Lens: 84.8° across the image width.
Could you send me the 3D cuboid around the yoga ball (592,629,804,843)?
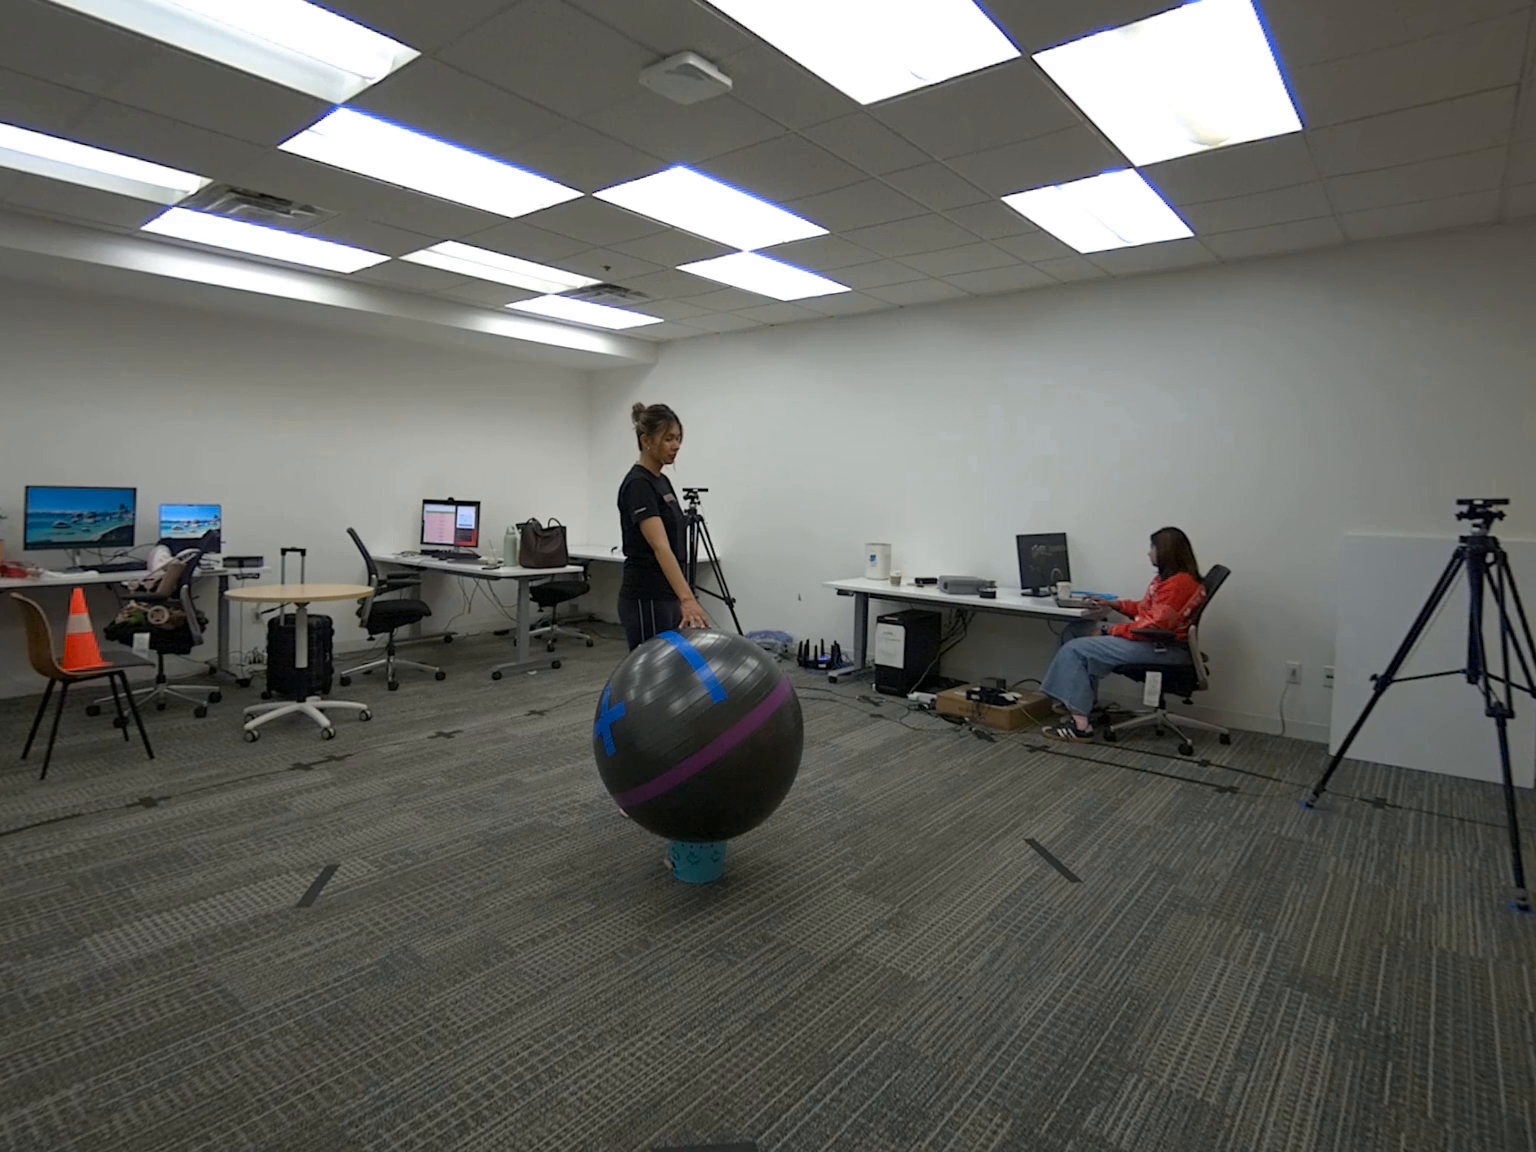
[{"bbox_3d":[-0.263,0.564,3.069,0.757,0.755,0.762,1,4,-2],"label":"yoga ball"}]
